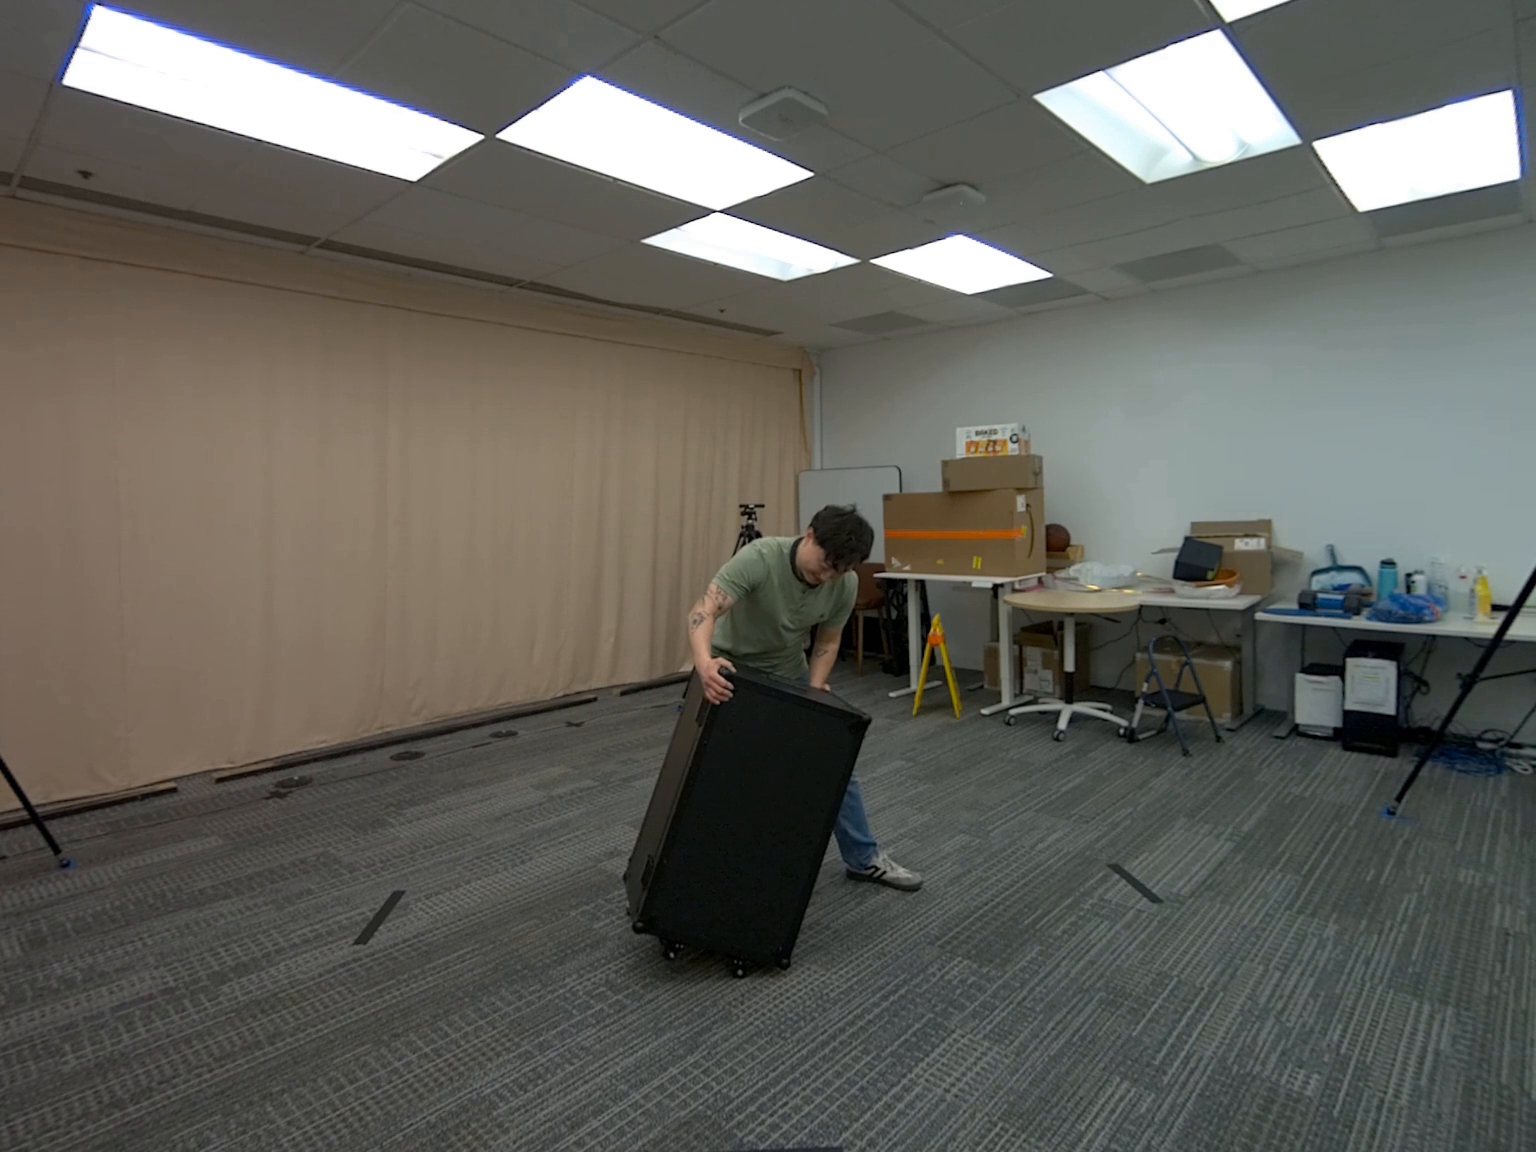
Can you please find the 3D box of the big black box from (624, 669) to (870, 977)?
[{"bbox_3d":[-0.099,0.737,2.616,0.514,0.862,0.402,19,-2,-13],"label":"big black box"}]
